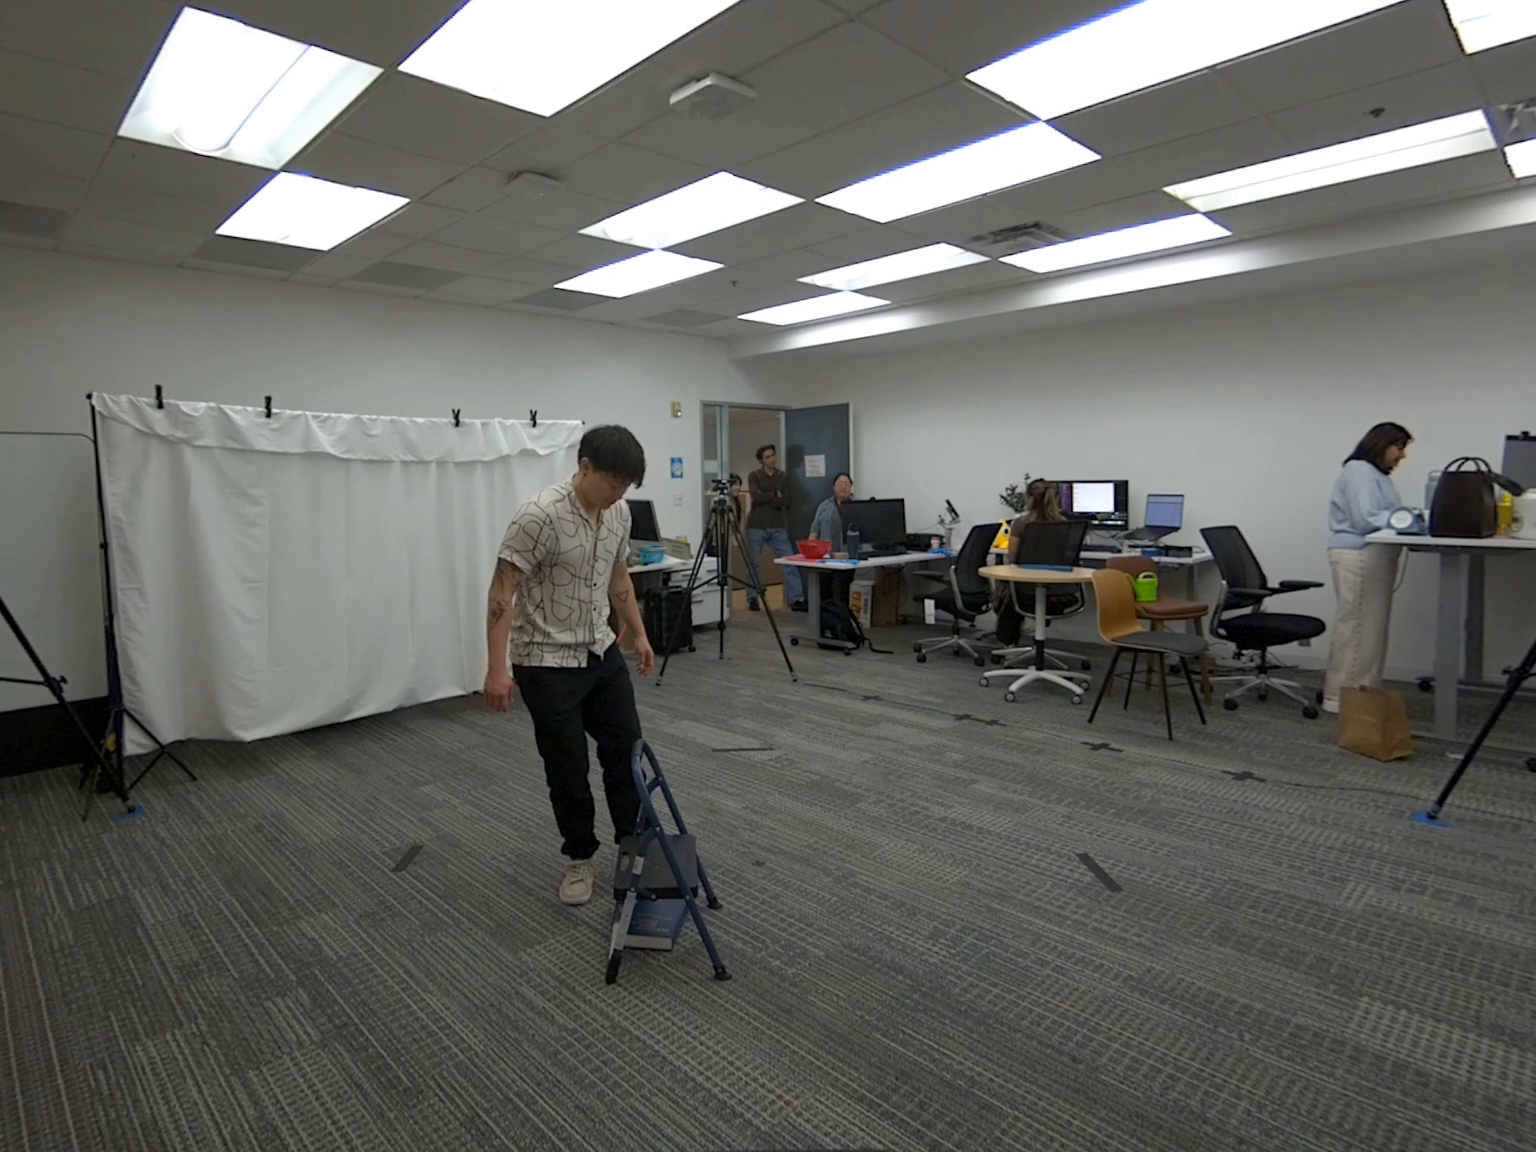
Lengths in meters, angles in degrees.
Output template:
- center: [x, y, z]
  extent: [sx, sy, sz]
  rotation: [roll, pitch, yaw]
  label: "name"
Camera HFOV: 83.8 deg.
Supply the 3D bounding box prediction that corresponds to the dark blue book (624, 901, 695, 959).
- center: [-0.333, 1.093, 2.661]
  extent: [0.165, 0.045, 0.244]
  rotation: [-2, 6, 7]
  label: "dark blue book"
